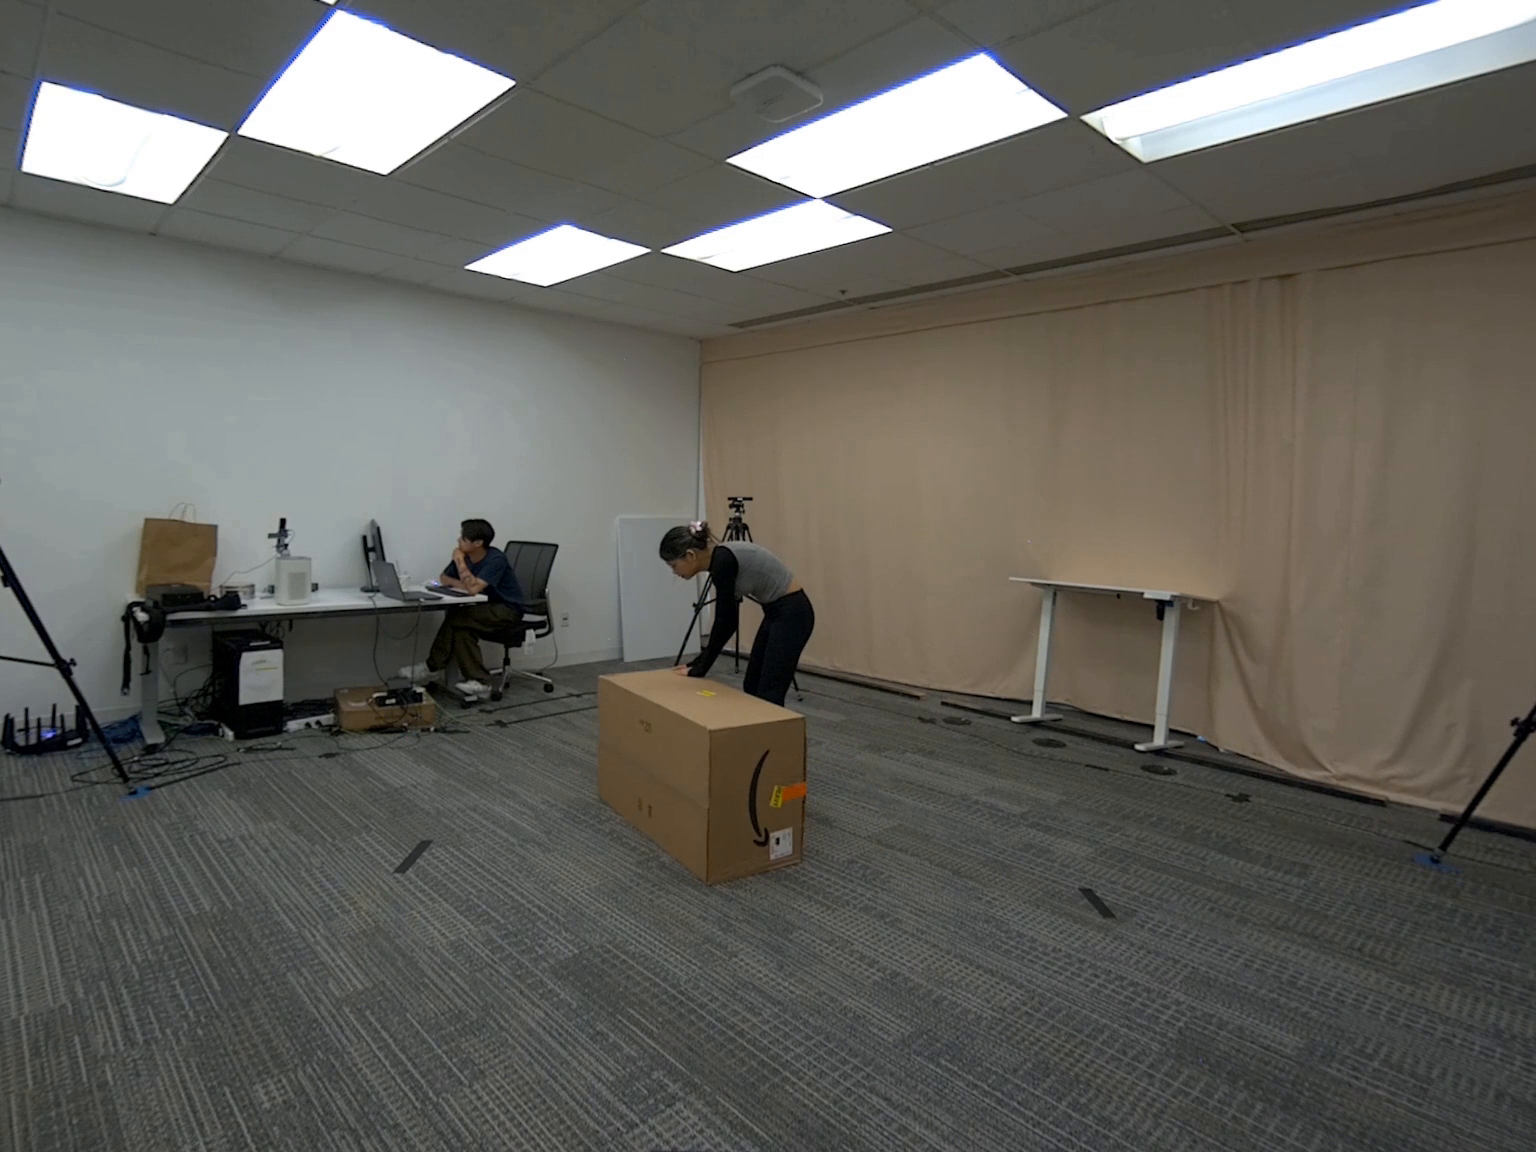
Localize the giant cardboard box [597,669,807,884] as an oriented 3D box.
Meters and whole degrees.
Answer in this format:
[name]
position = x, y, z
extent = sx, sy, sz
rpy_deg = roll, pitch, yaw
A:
[giant cardboard box]
position = -0.329, 0.780, 3.538
extent = 0.437, 0.582, 1.052
rpy_deg = 0, 5, -34
